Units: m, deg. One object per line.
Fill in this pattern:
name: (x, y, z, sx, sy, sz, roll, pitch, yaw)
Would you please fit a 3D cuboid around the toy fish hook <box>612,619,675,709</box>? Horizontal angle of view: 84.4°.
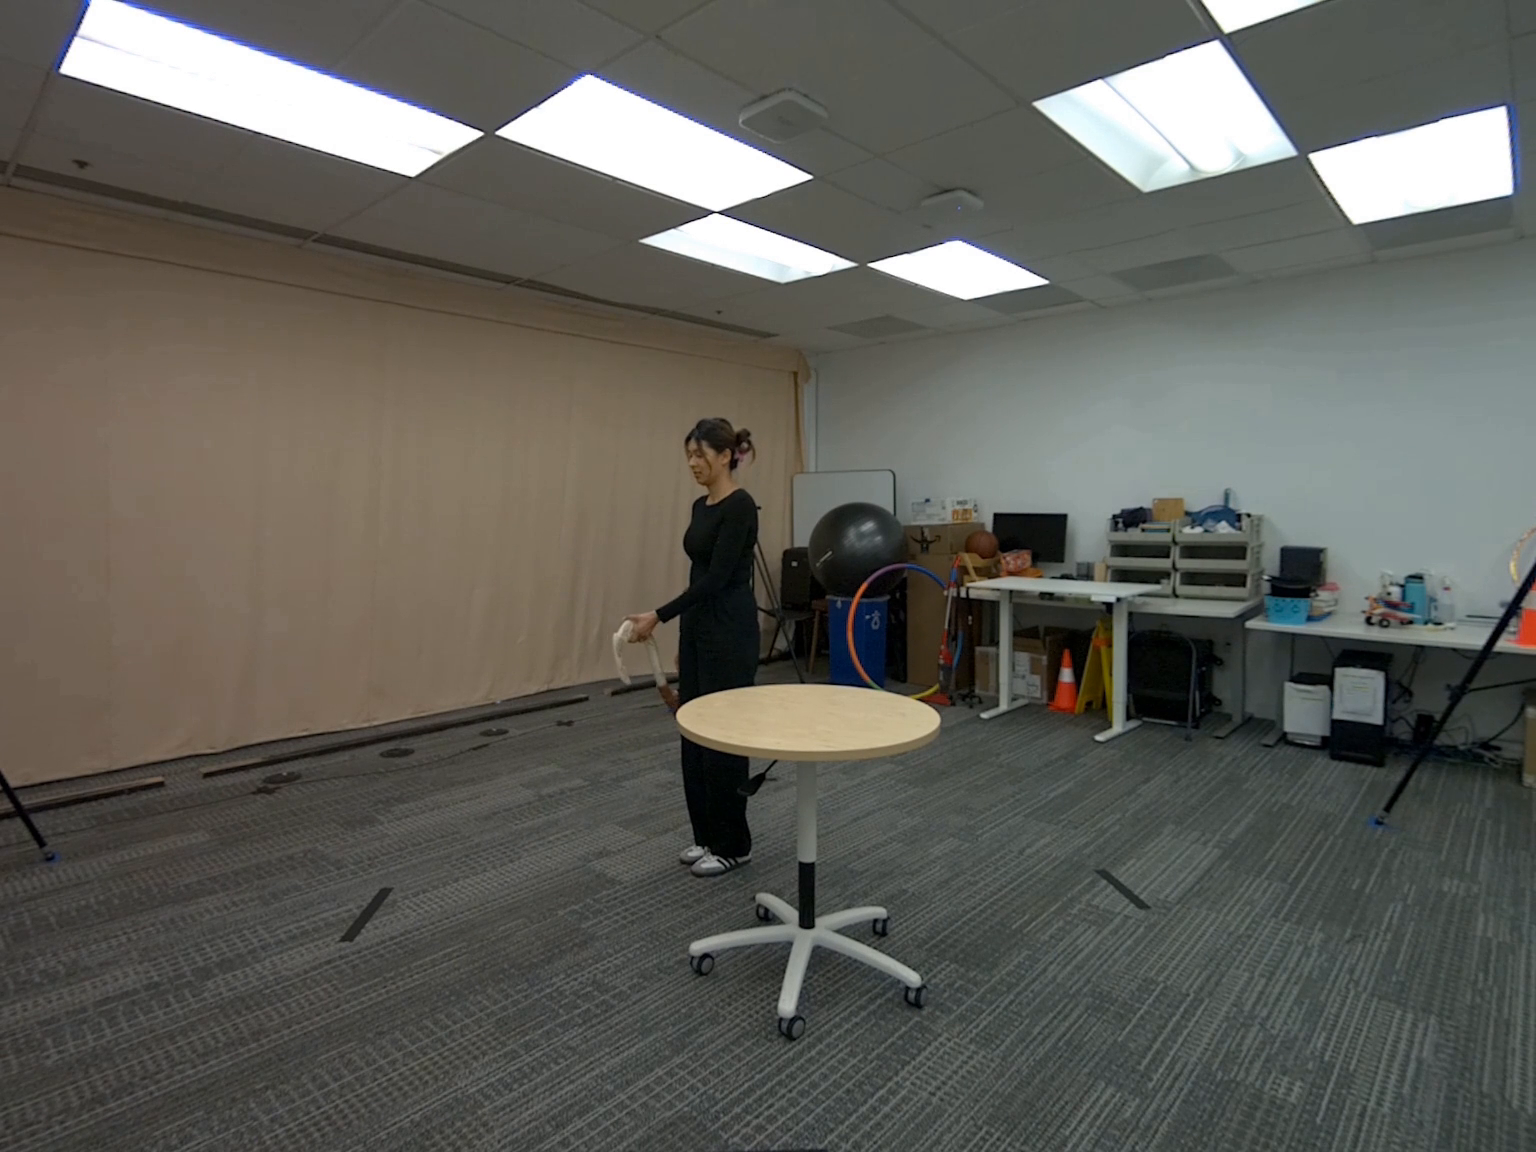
toy fish hook: (-0.452, 0.382, 3.140, 0.050, 0.496, 0.222, 3, 34, 42)
